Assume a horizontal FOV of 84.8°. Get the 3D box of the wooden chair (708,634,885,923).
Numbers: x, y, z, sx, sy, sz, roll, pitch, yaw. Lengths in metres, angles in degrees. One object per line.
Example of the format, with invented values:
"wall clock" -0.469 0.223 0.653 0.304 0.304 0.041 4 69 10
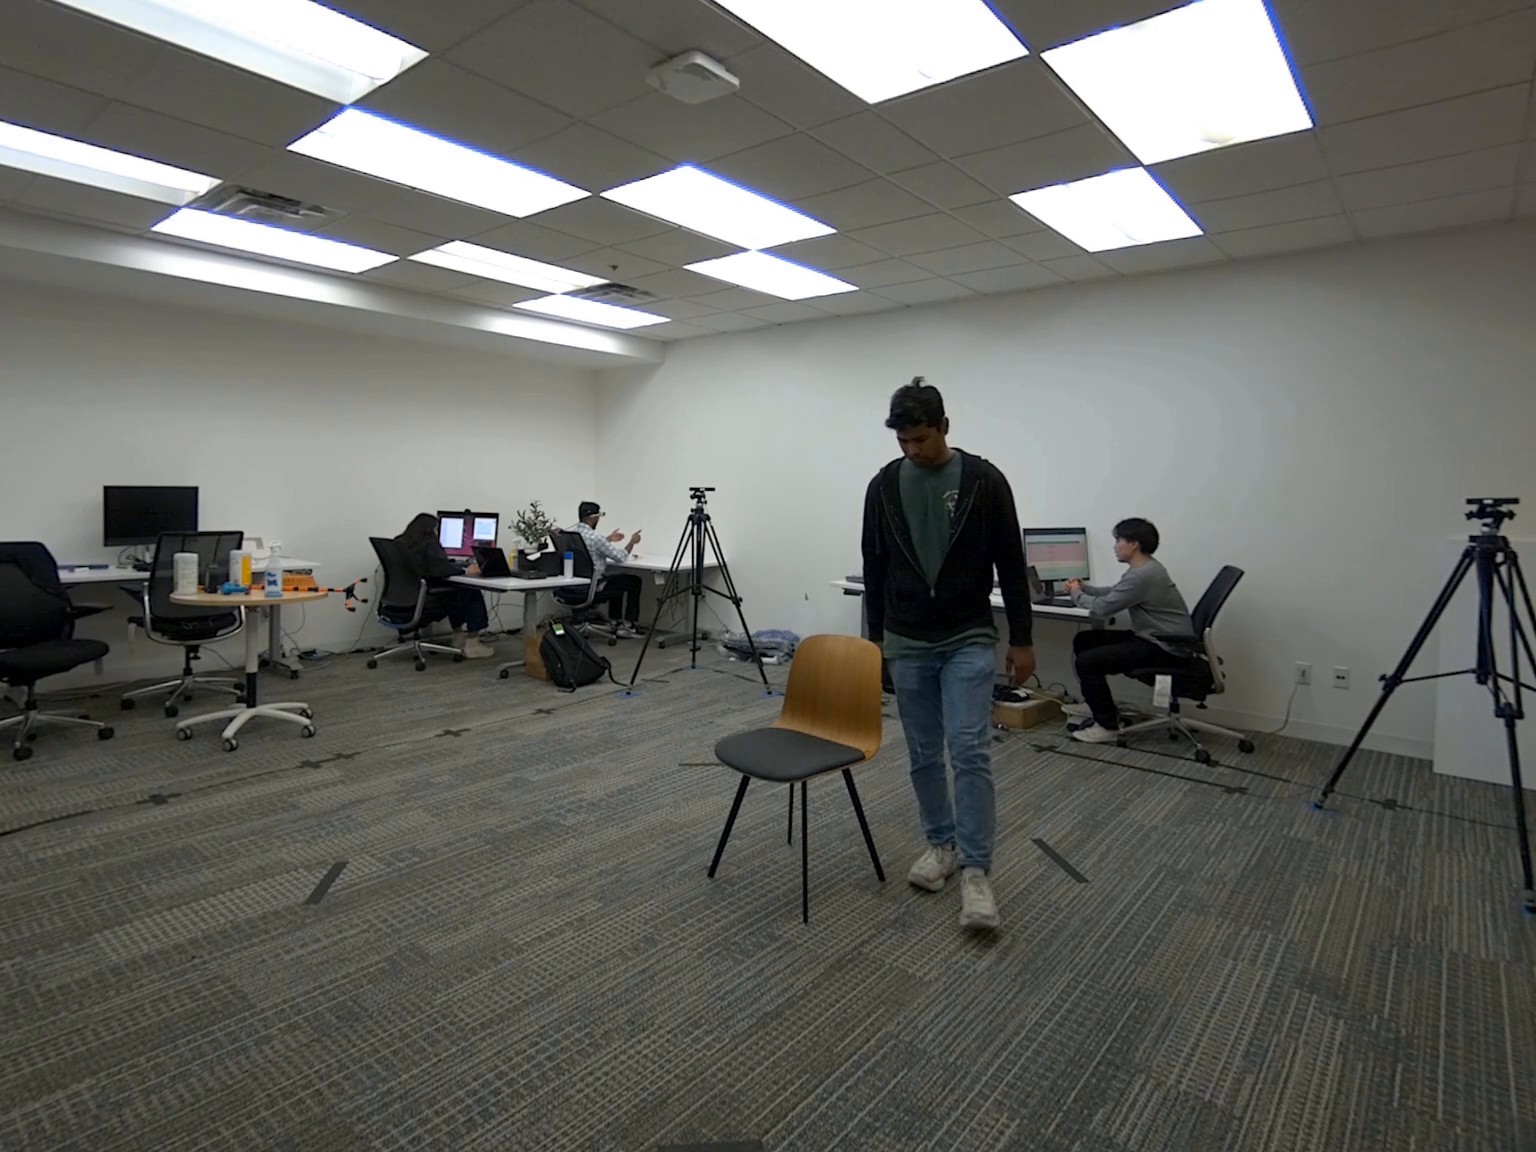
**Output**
"wooden chair" 0.096 0.657 3.013 0.494 0.877 0.506 5 0 43
